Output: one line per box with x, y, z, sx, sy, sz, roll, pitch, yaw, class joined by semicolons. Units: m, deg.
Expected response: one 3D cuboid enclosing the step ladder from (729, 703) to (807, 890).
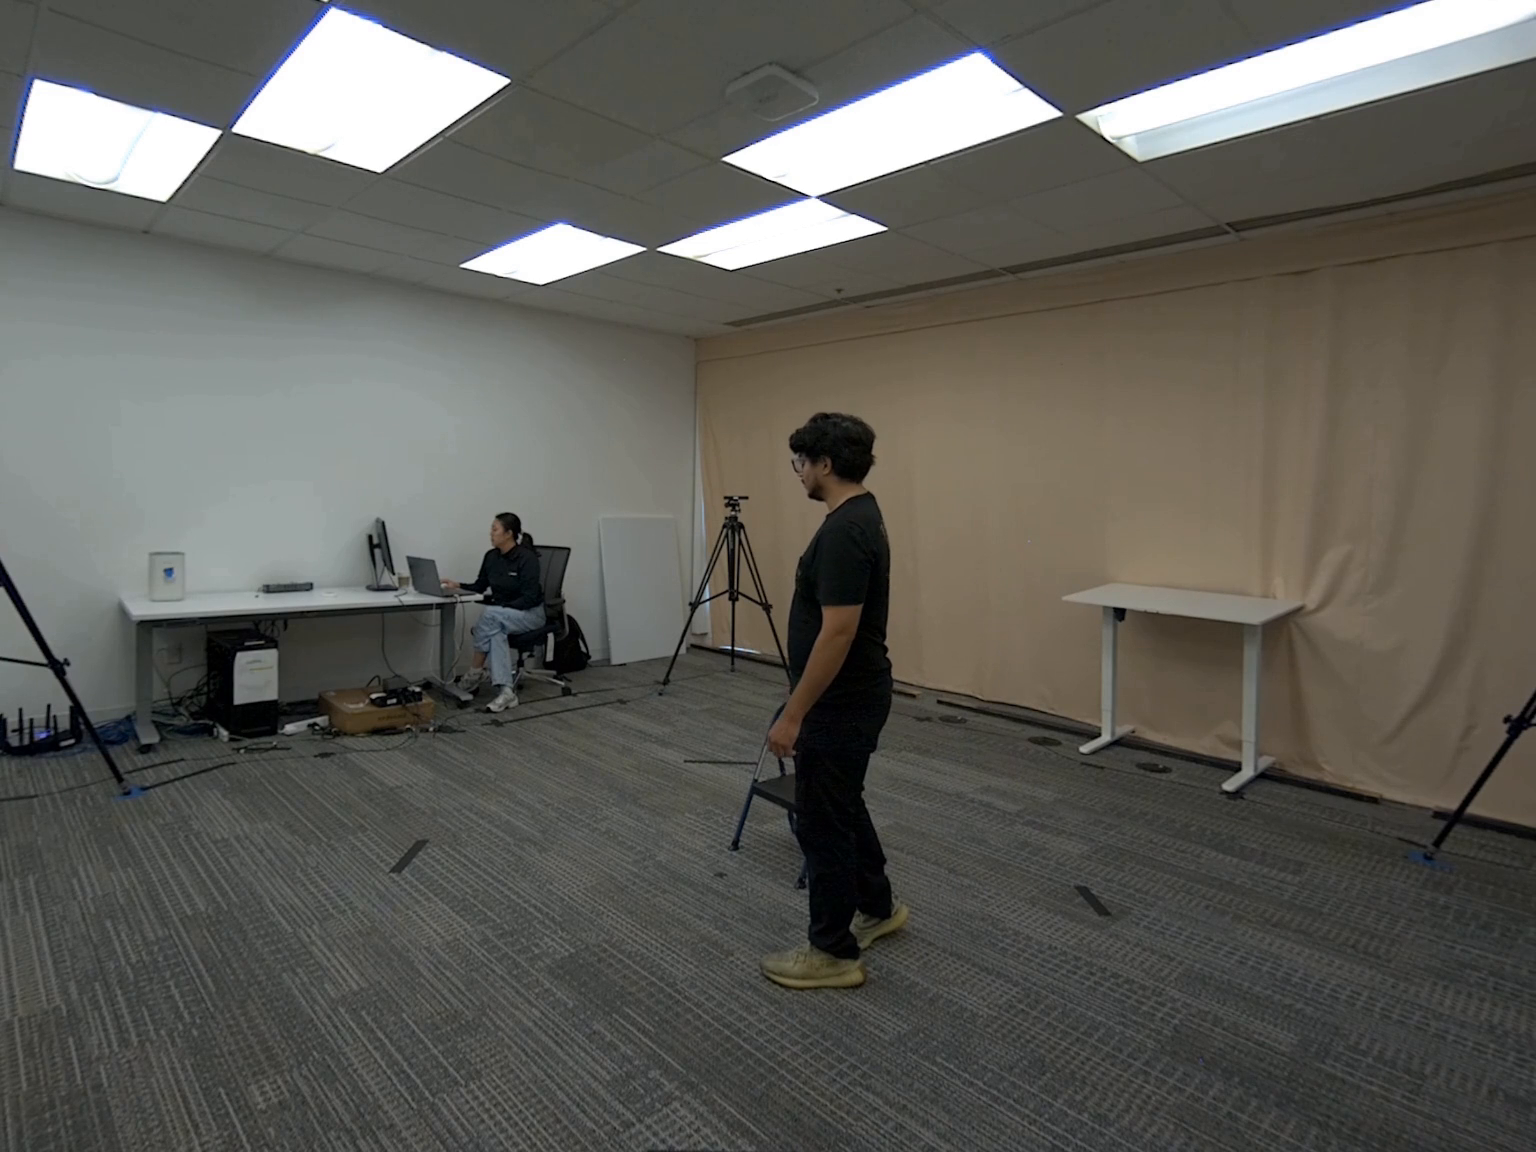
0.116;0.794;3.254;0.341;0.604;0.441;-1;5;-38;step ladder
